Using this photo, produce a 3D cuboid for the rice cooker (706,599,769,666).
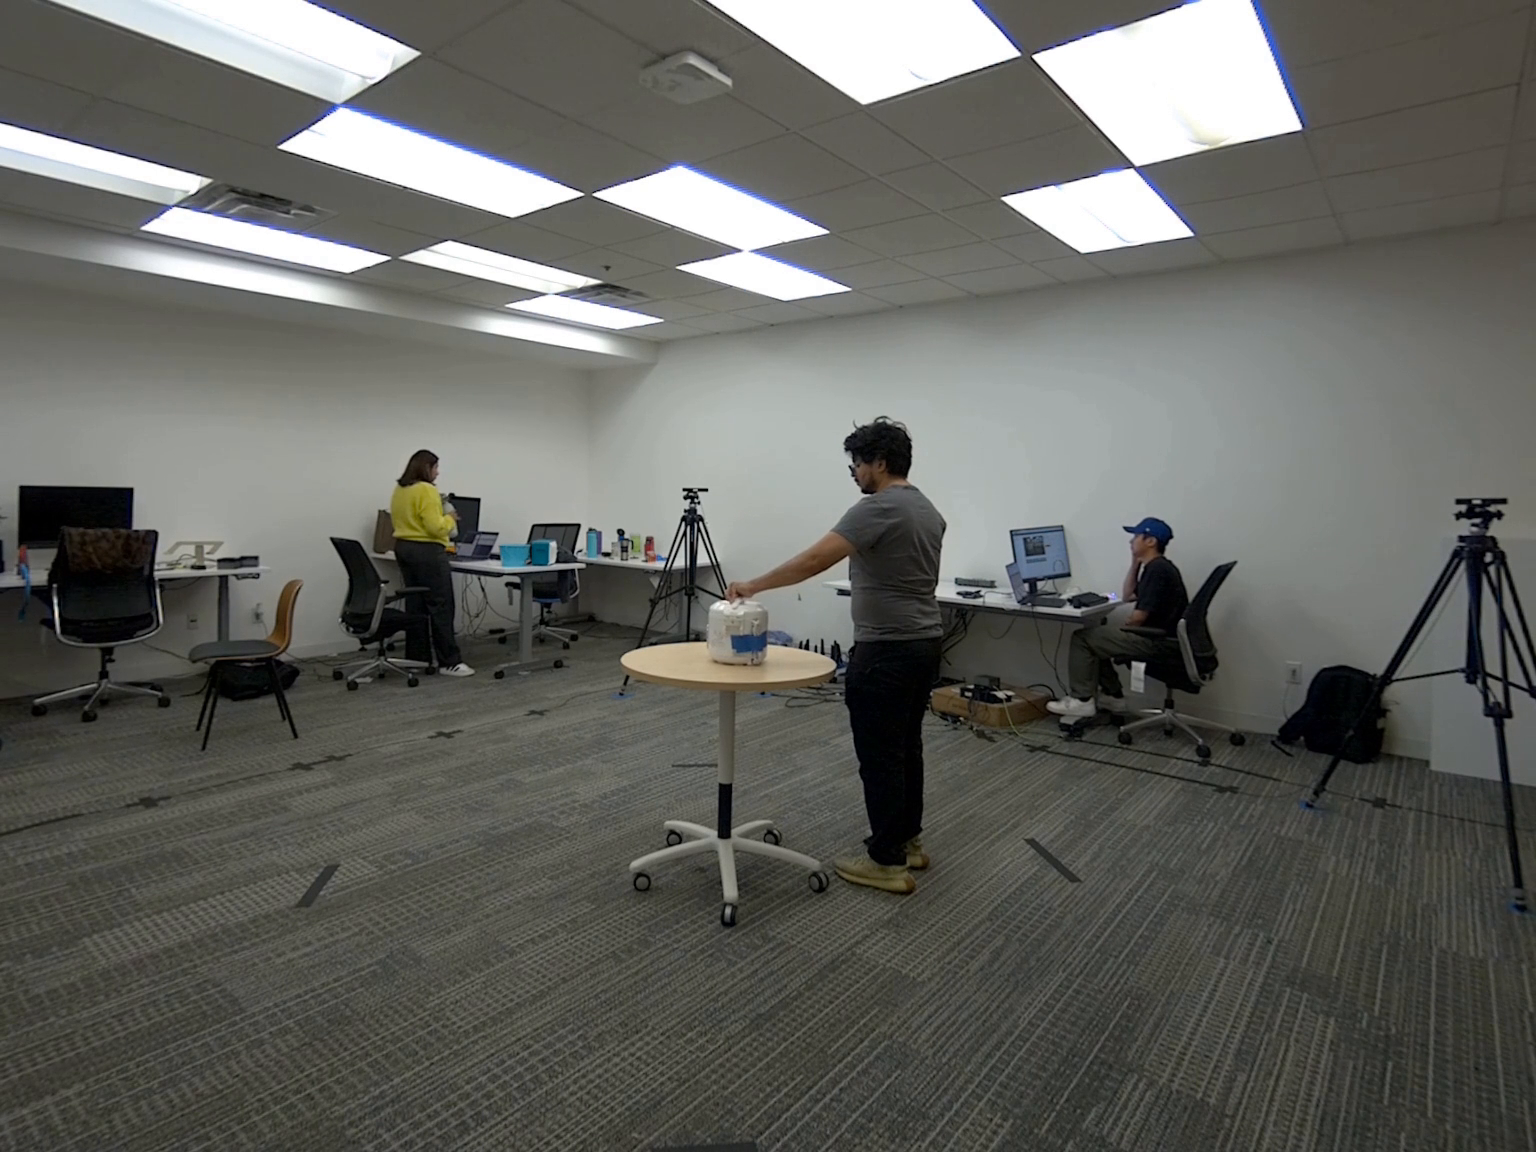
[{"bbox_3d":[-0.117,0.183,3.020,0.220,0.232,0.219,3,4,9],"label":"rice cooker"}]
